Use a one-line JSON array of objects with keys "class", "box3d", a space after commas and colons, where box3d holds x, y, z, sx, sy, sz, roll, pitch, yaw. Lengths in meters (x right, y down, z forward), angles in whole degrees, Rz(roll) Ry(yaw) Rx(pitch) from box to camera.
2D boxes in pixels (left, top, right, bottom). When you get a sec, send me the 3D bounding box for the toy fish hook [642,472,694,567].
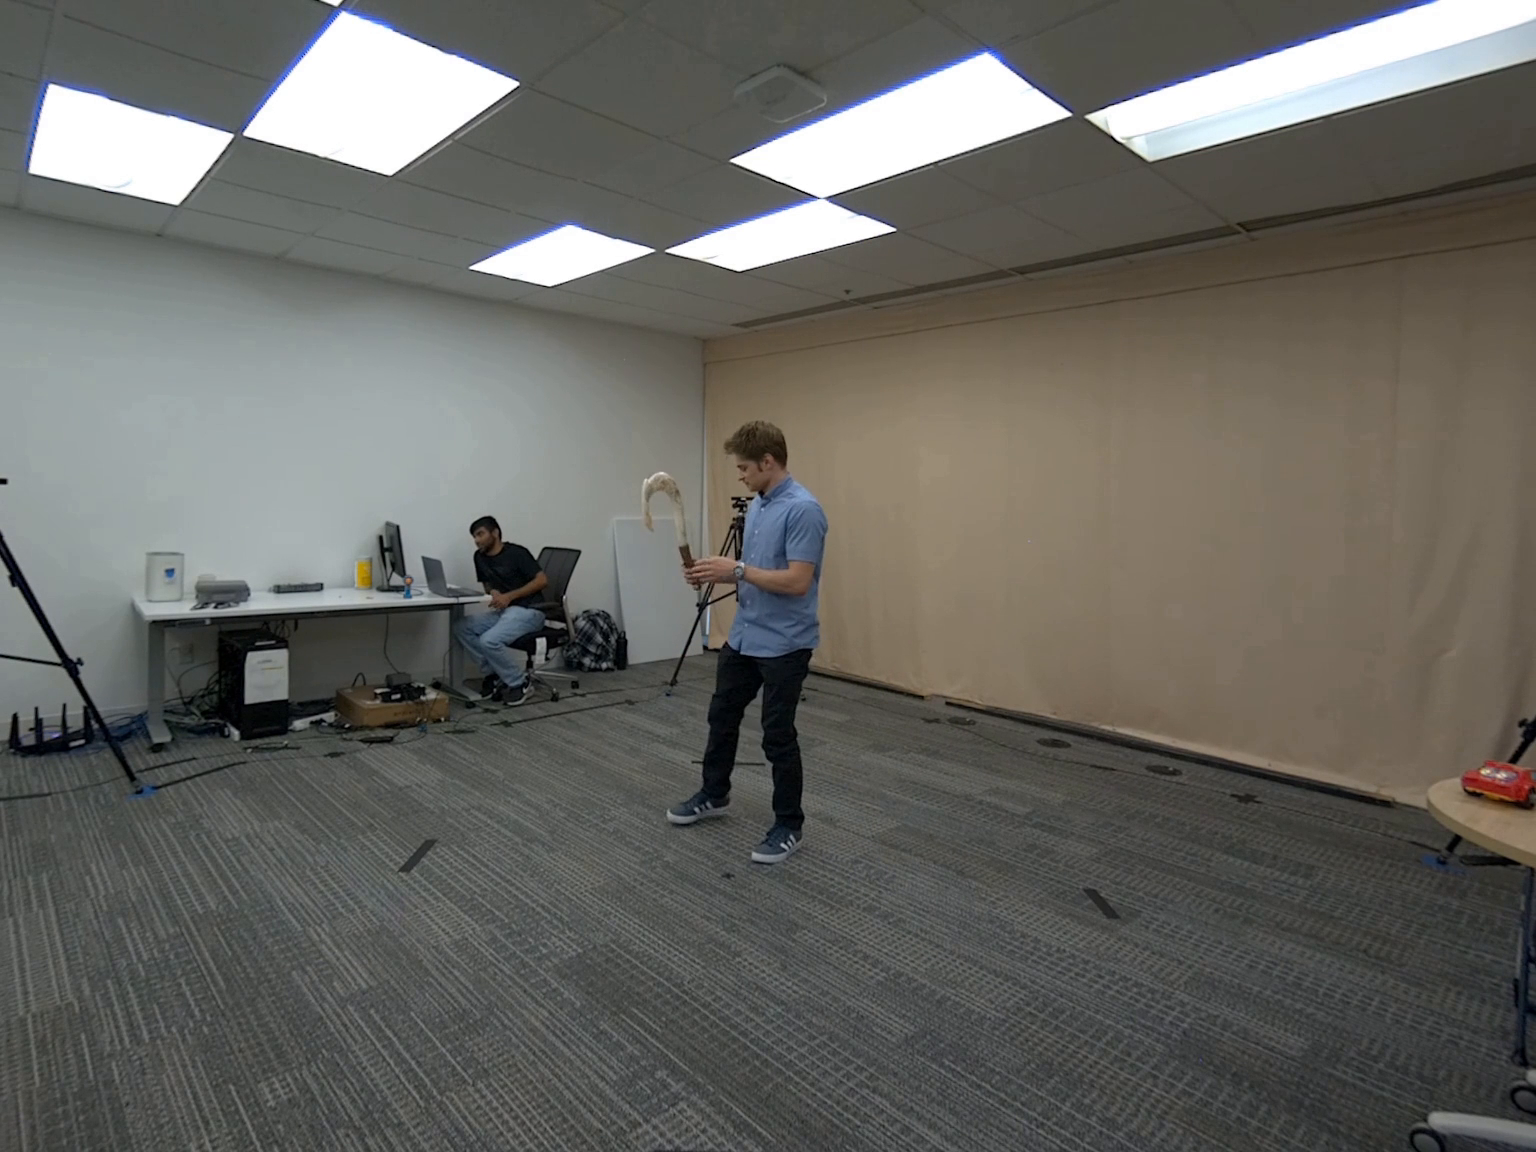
[{"class": "toy fish hook", "box3d": [-0.379, -0.153, 3.281, 0.049, 0.498, 0.223, -1, 24, 43]}]
